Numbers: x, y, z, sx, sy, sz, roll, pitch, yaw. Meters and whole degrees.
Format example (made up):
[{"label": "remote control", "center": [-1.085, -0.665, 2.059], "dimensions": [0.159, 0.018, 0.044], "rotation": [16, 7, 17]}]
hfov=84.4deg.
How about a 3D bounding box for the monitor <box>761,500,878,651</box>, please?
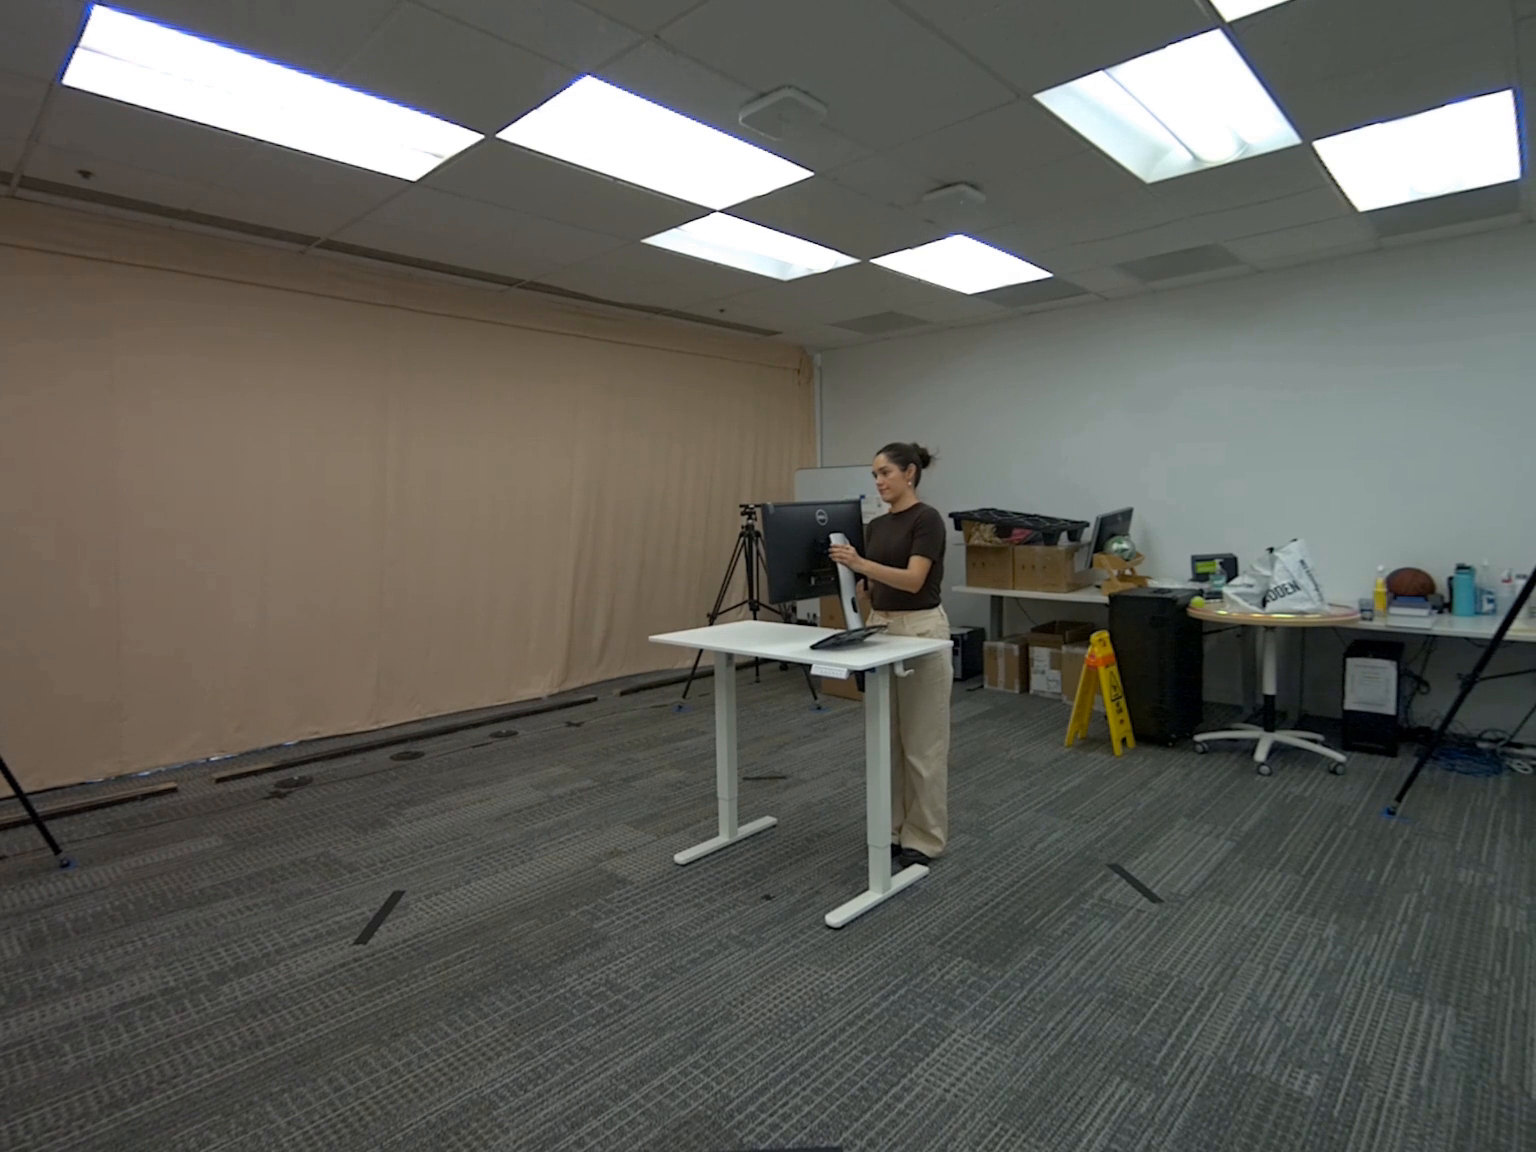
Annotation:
[{"label": "monitor", "center": [0.228, -0.019, 3.027], "dimensions": [0.523, 0.527, 0.191], "rotation": [-6, -14, -44]}]
